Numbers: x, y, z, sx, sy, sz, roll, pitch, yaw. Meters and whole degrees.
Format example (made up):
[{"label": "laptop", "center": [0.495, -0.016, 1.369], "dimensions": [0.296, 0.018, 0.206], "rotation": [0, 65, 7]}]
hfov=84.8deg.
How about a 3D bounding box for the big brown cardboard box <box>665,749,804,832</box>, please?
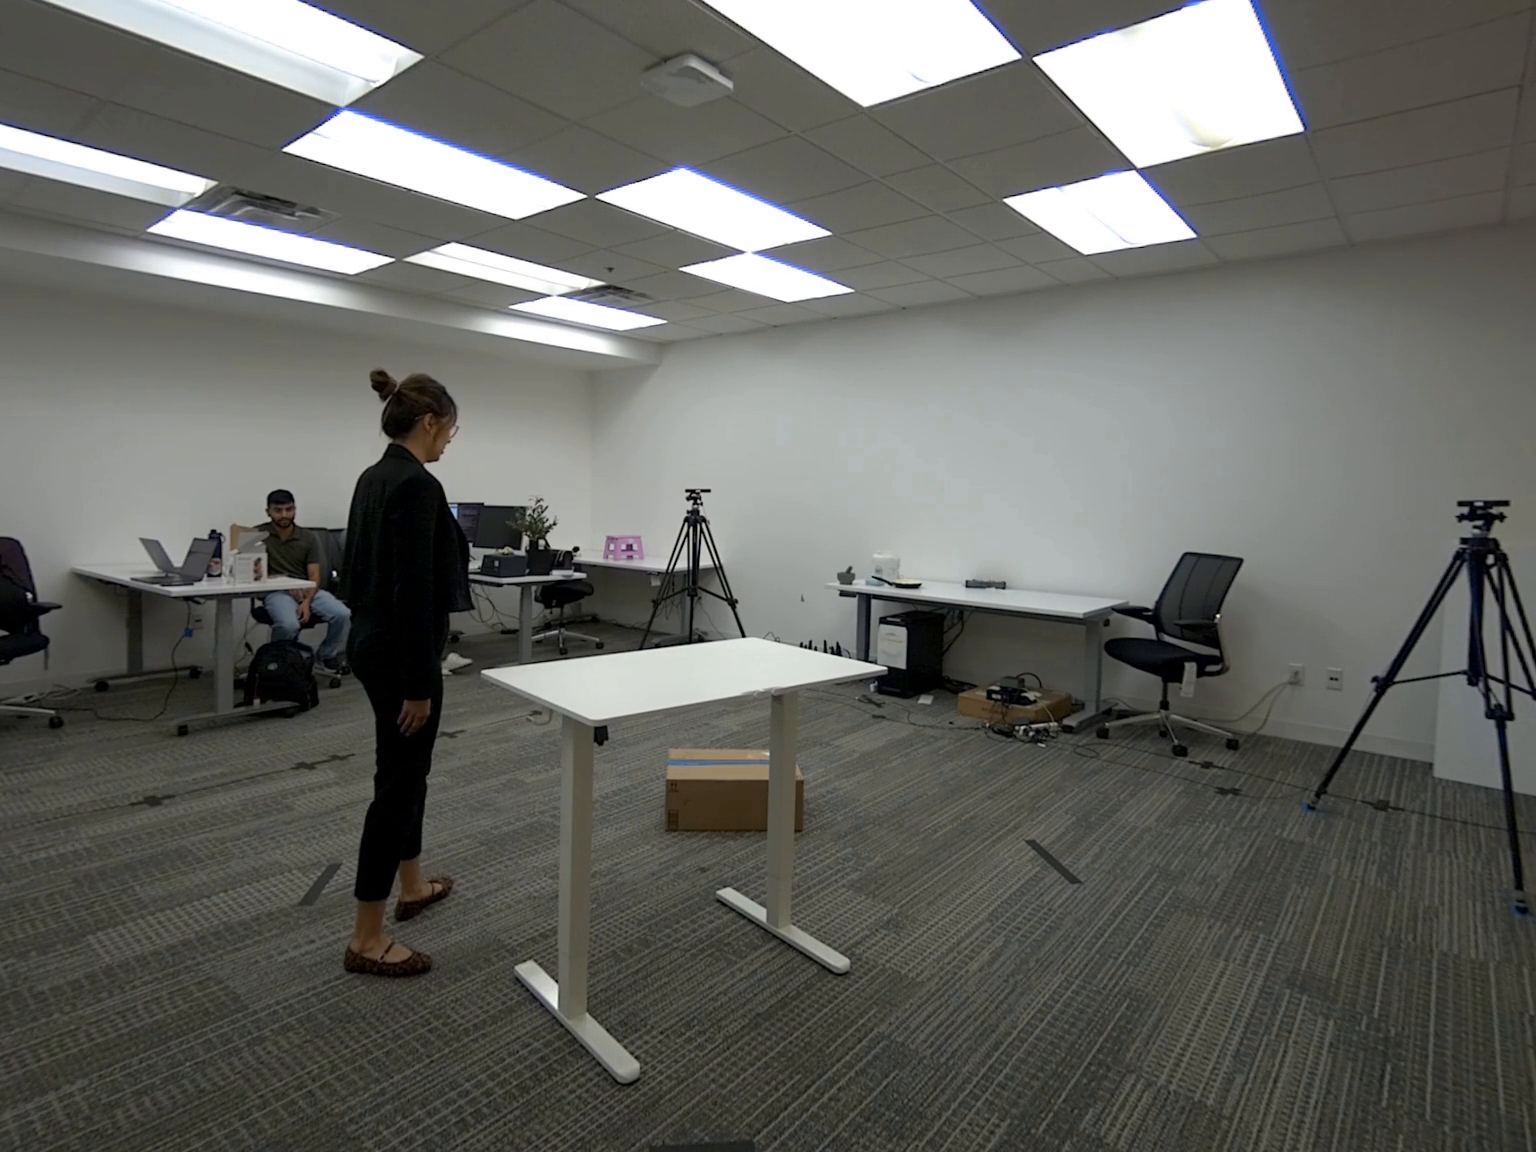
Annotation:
[{"label": "big brown cardboard box", "center": [-0.162, 0.908, 3.669], "dimensions": [0.587, 0.232, 0.421], "rotation": [0, 5, -4]}]
